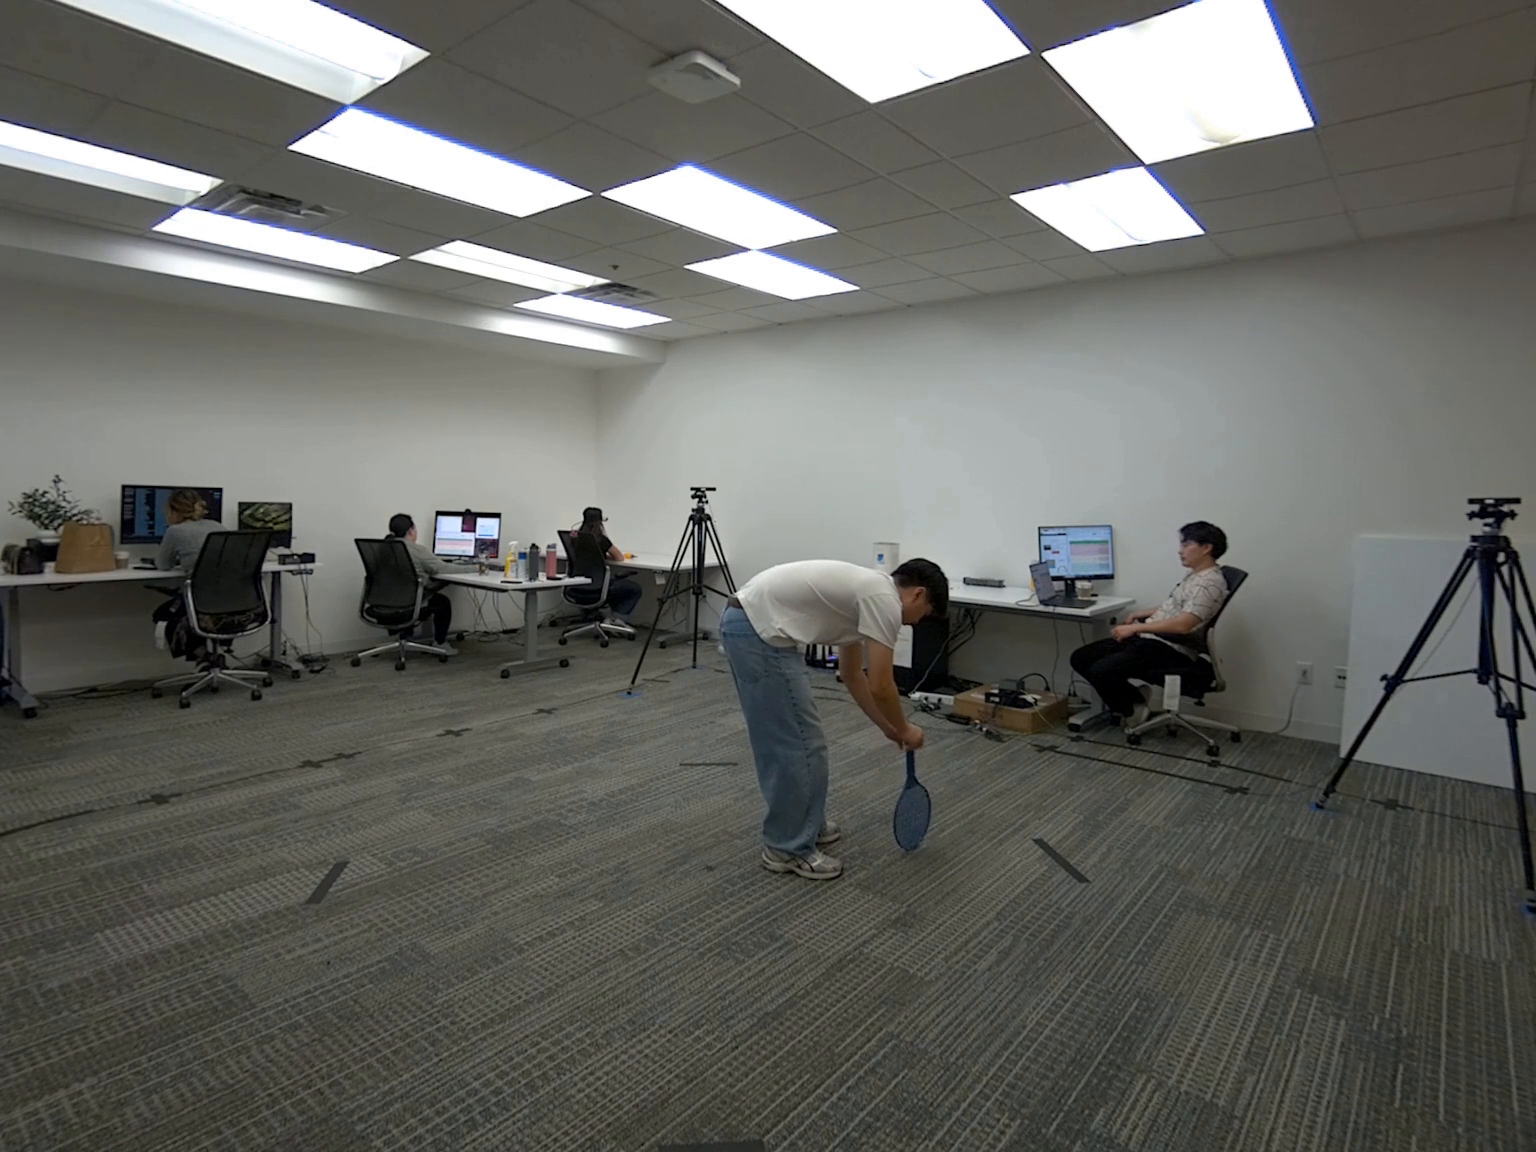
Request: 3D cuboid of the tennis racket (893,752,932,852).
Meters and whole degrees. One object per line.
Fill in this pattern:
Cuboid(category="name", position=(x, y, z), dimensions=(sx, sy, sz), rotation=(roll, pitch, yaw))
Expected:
Cuboid(category="tennis racket", position=(0.545, 0.852, 3.293), dimensions=(0.208, 0.430, 0.033), rotation=(-9, 10, -41))
